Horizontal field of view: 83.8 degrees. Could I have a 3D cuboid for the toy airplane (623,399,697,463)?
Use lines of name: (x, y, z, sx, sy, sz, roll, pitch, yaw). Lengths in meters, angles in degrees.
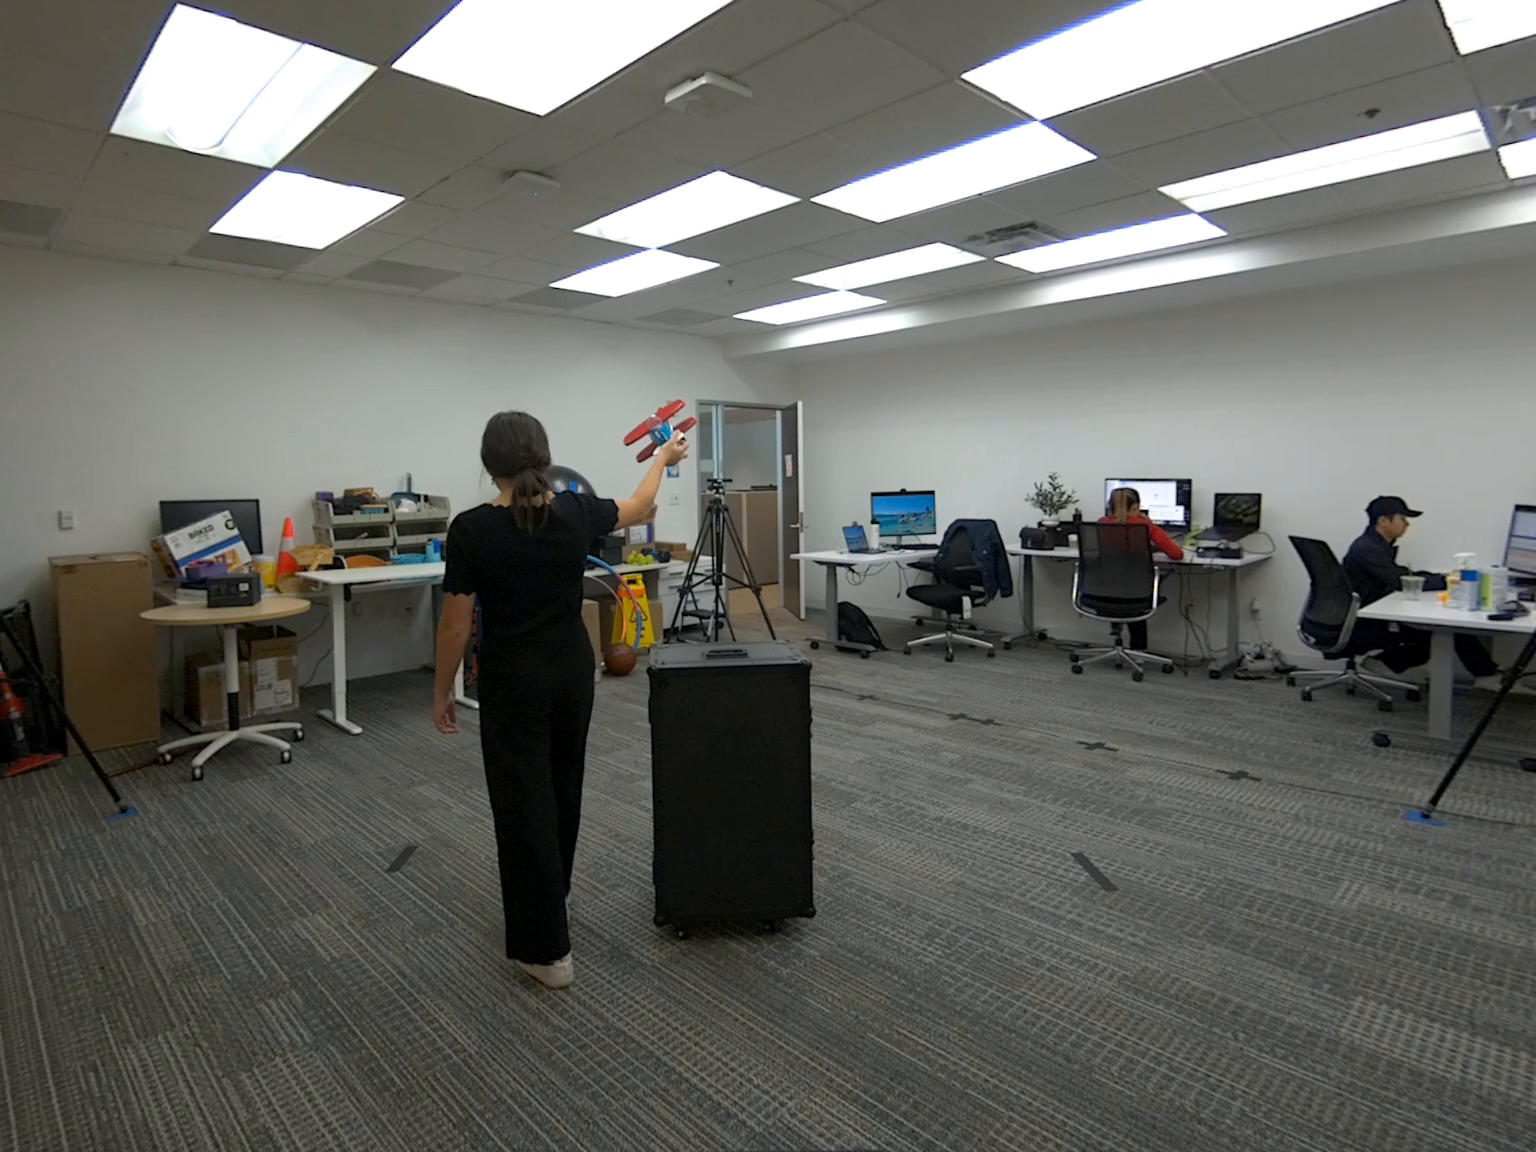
toy airplane: (-0.343, -0.491, 2.950, 0.250, 0.153, 0.265, -43, 18, -24)
